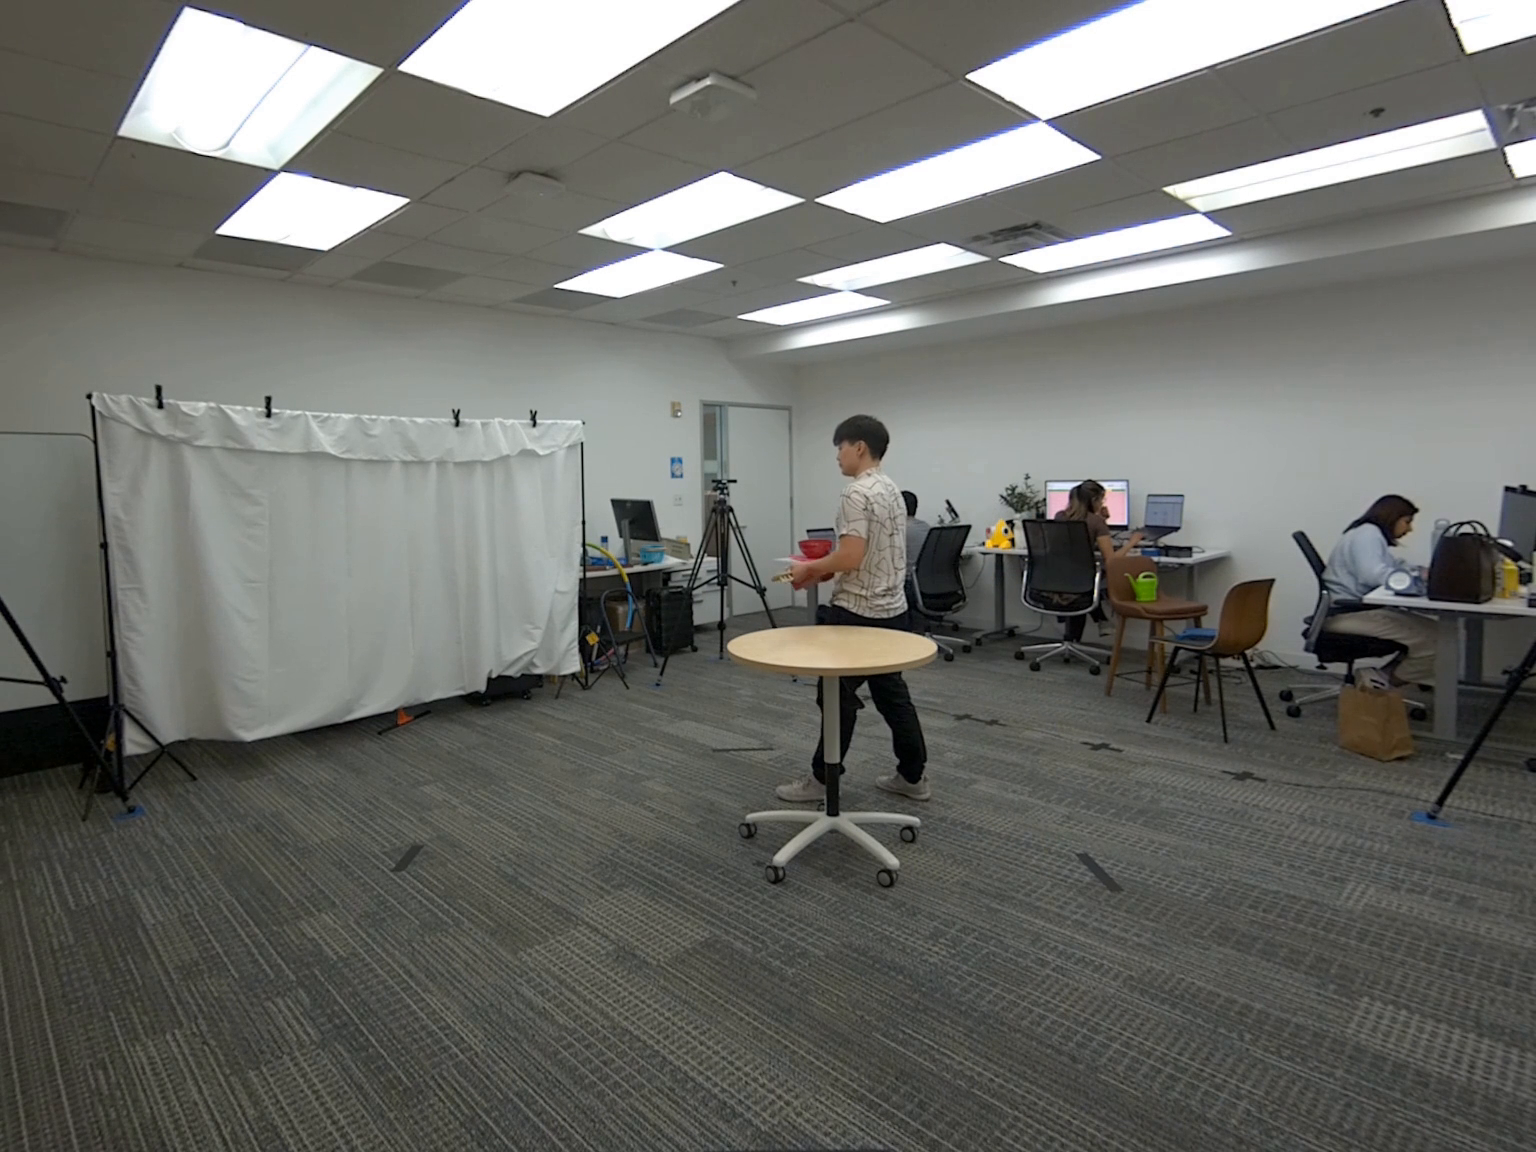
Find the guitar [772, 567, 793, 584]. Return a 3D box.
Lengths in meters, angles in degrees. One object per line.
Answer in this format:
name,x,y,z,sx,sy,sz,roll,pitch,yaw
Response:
guitar,0.142,0.006,3.774,0.194,0.072,0.487,-37,-12,34
